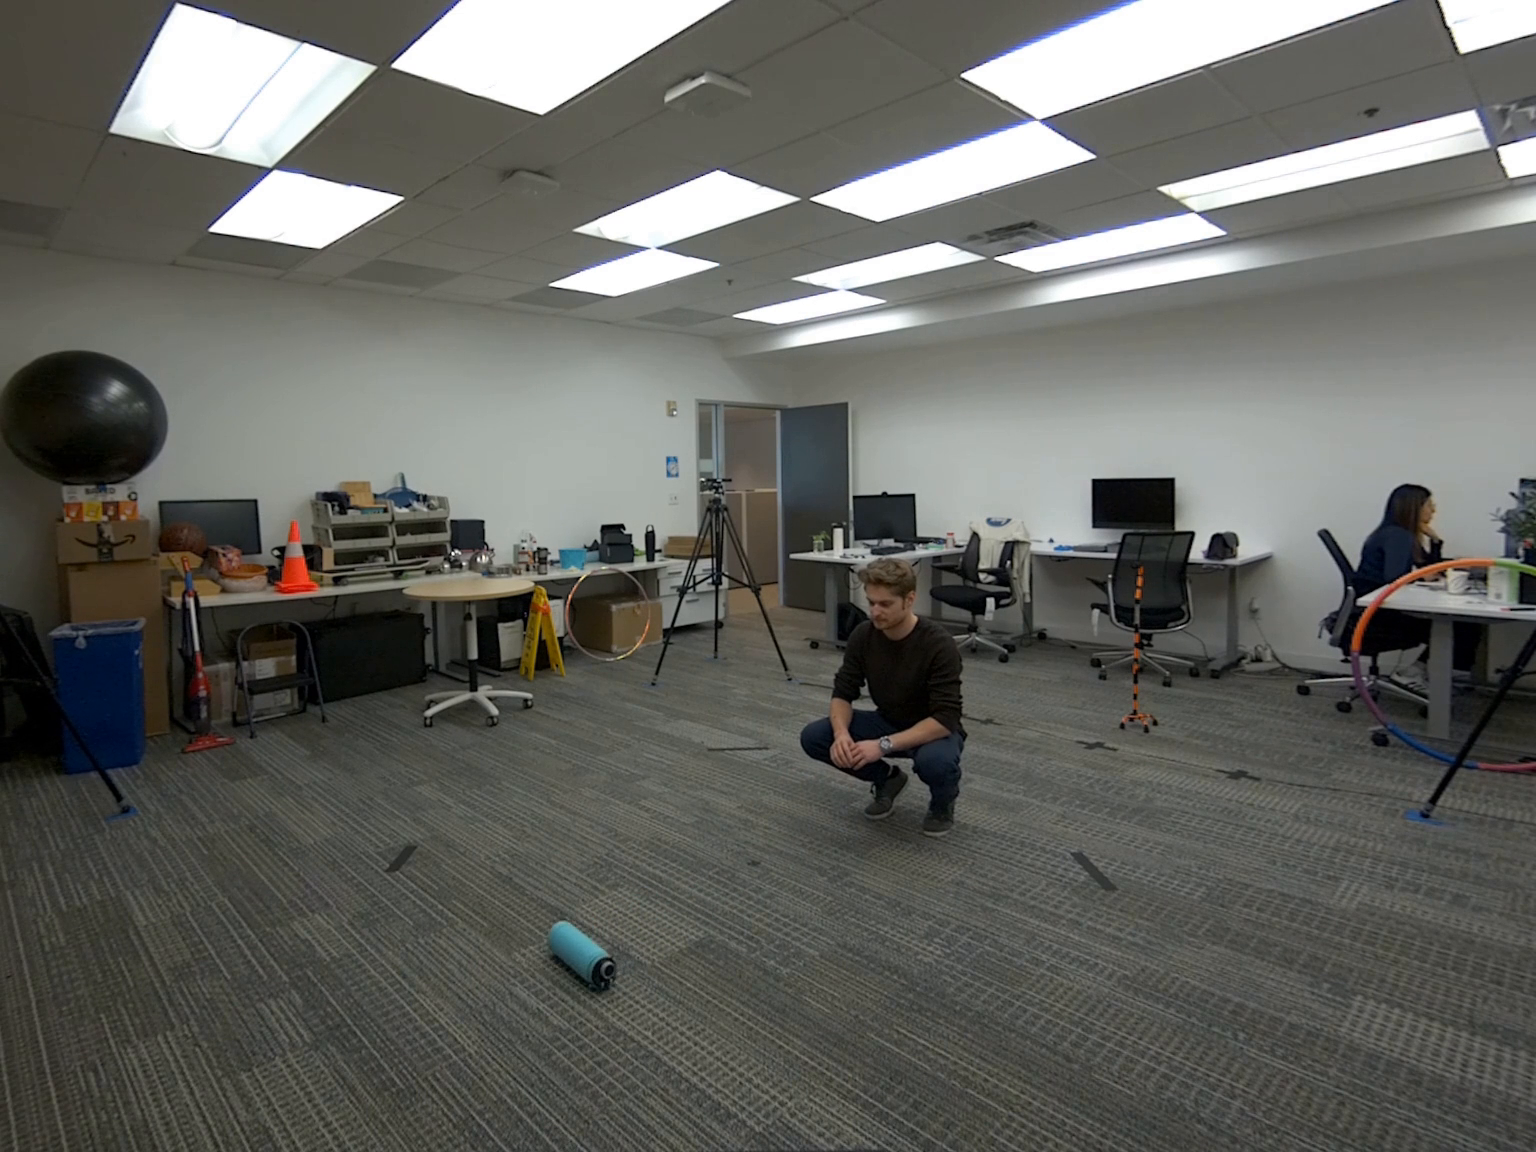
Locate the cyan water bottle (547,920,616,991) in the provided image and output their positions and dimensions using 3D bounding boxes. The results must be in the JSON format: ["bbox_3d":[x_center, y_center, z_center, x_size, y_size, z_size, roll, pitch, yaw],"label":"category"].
[{"bbox_3d":[-0.535,1.085,2.442,0.090,0.092,0.292,-5,7,-40],"label":"cyan water bottle"}]
